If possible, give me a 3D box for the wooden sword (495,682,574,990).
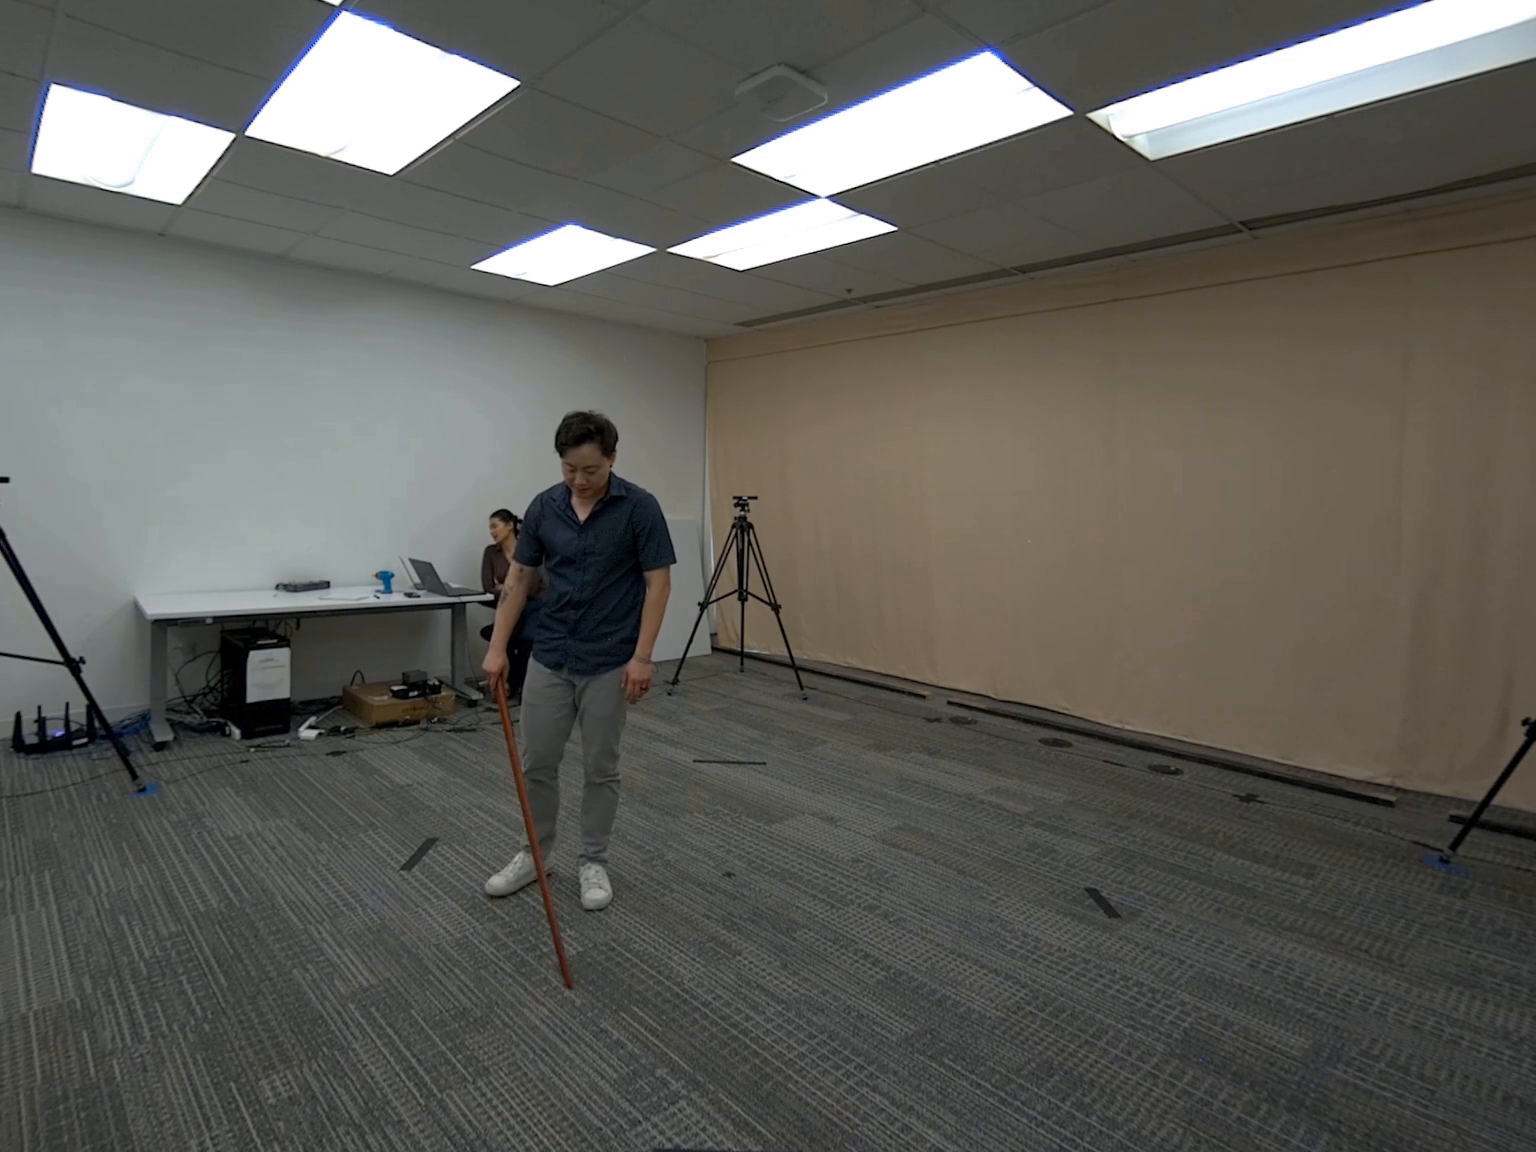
[{"bbox_3d":[-0.760,0.752,2.604,0.024,1.051,0.051,-9,-32,-28],"label":"wooden sword"}]
